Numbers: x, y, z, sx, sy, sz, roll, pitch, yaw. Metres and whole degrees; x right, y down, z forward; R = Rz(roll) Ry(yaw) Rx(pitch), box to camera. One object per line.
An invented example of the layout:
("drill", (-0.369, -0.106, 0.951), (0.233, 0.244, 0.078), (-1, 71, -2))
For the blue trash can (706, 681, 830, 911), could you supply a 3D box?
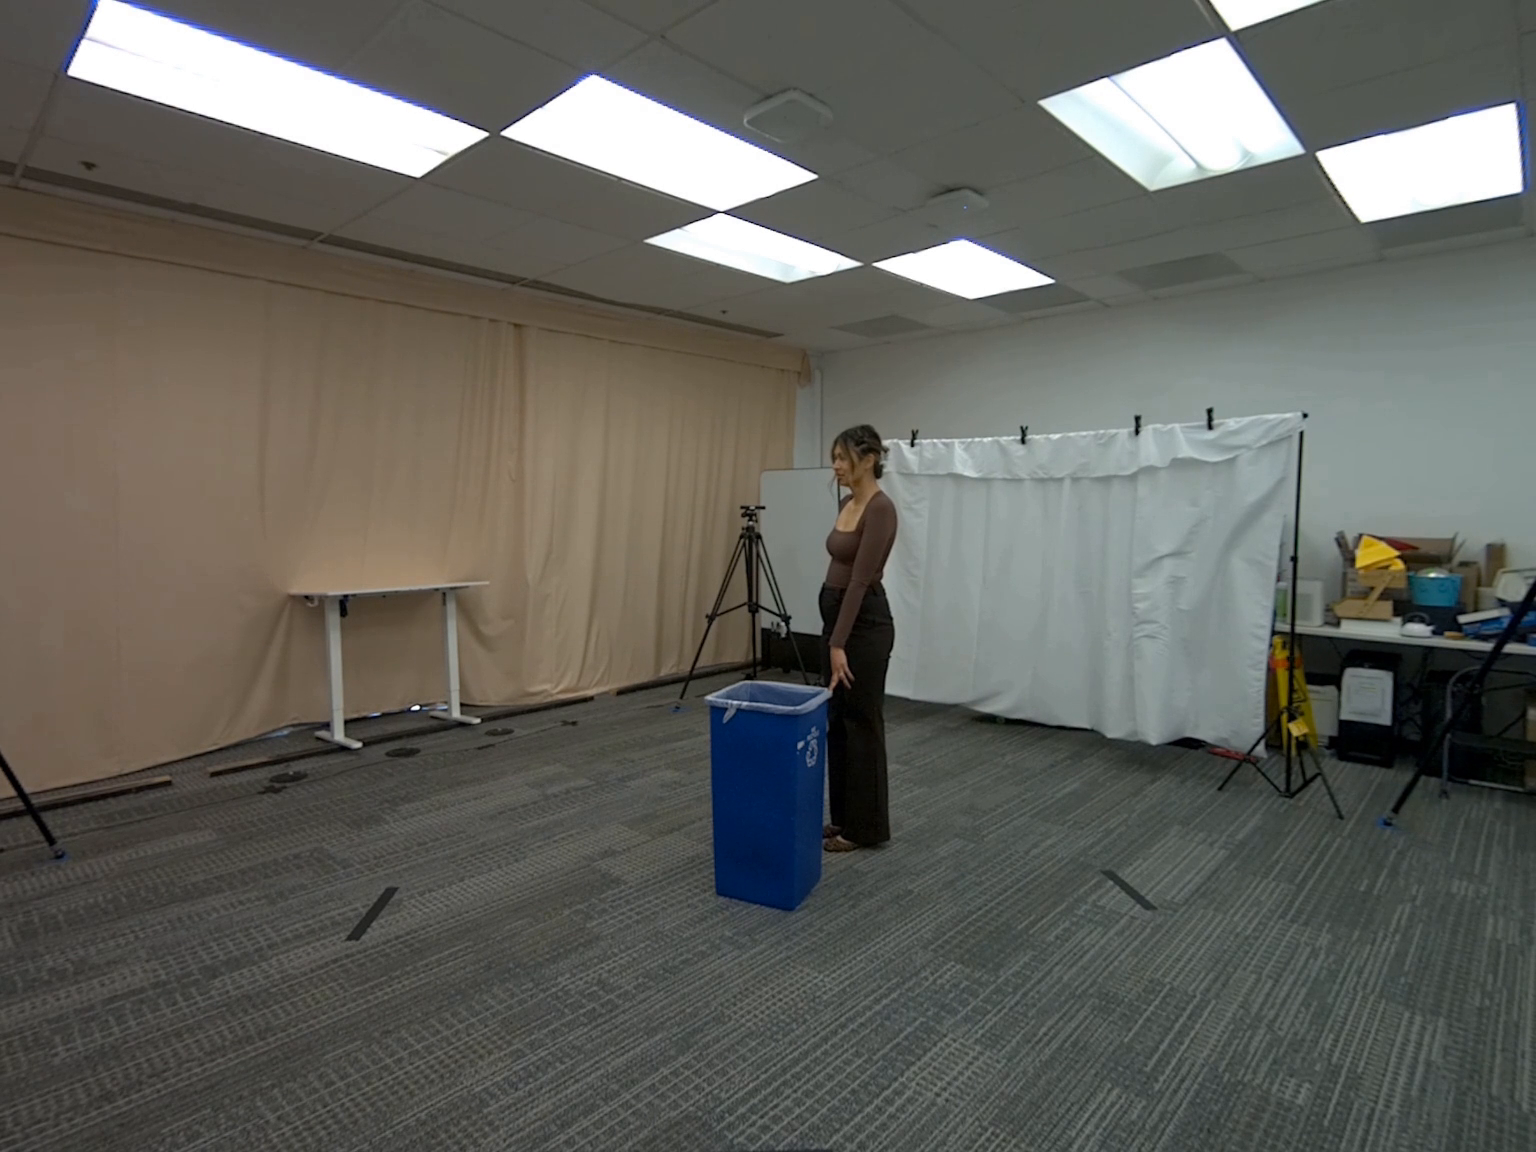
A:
("blue trash can", (0.007, 0.778, 3.070), (0.388, 0.712, 0.365), (2, 4, 25))
